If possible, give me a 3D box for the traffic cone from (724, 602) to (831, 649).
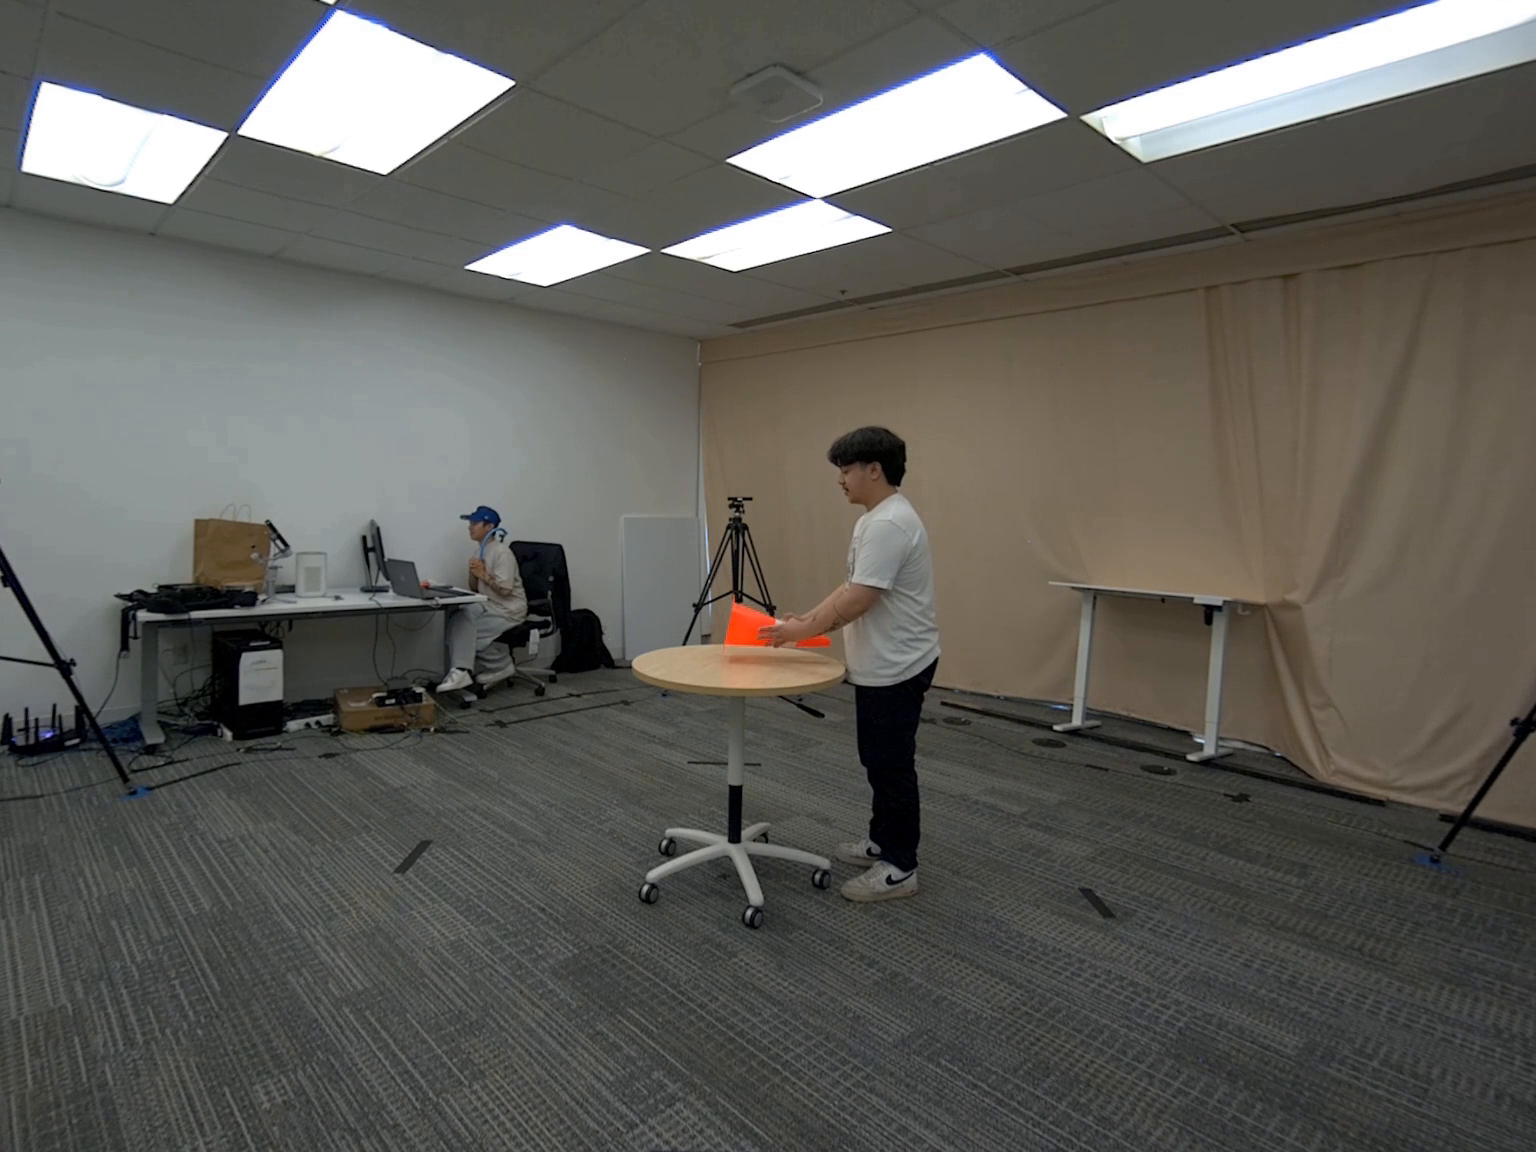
[{"bbox_3d":[0.046,0.221,3.080,0.384,0.204,0.204,10,-4,1],"label":"traffic cone"}]
